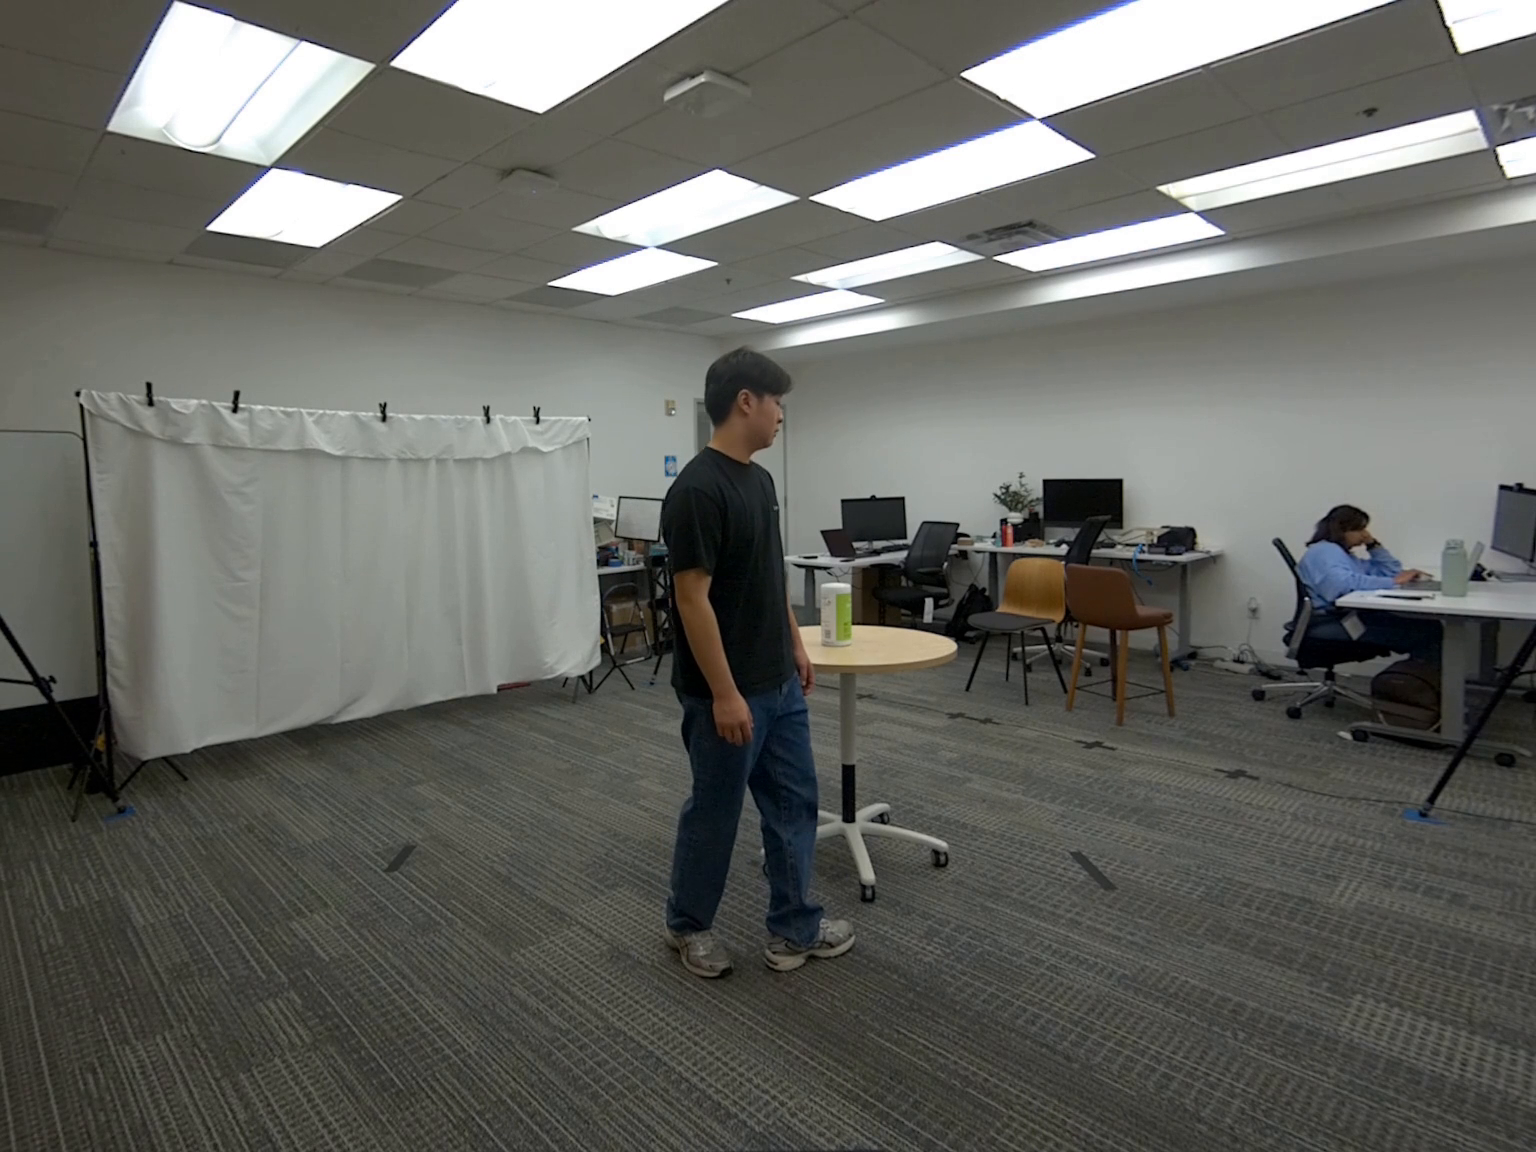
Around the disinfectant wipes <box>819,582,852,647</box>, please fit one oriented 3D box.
[{"bbox_3d":[0.248,0.138,3.061,0.118,0.217,0.118,-1,4,-2],"label":"disinfectant wipes"}]
